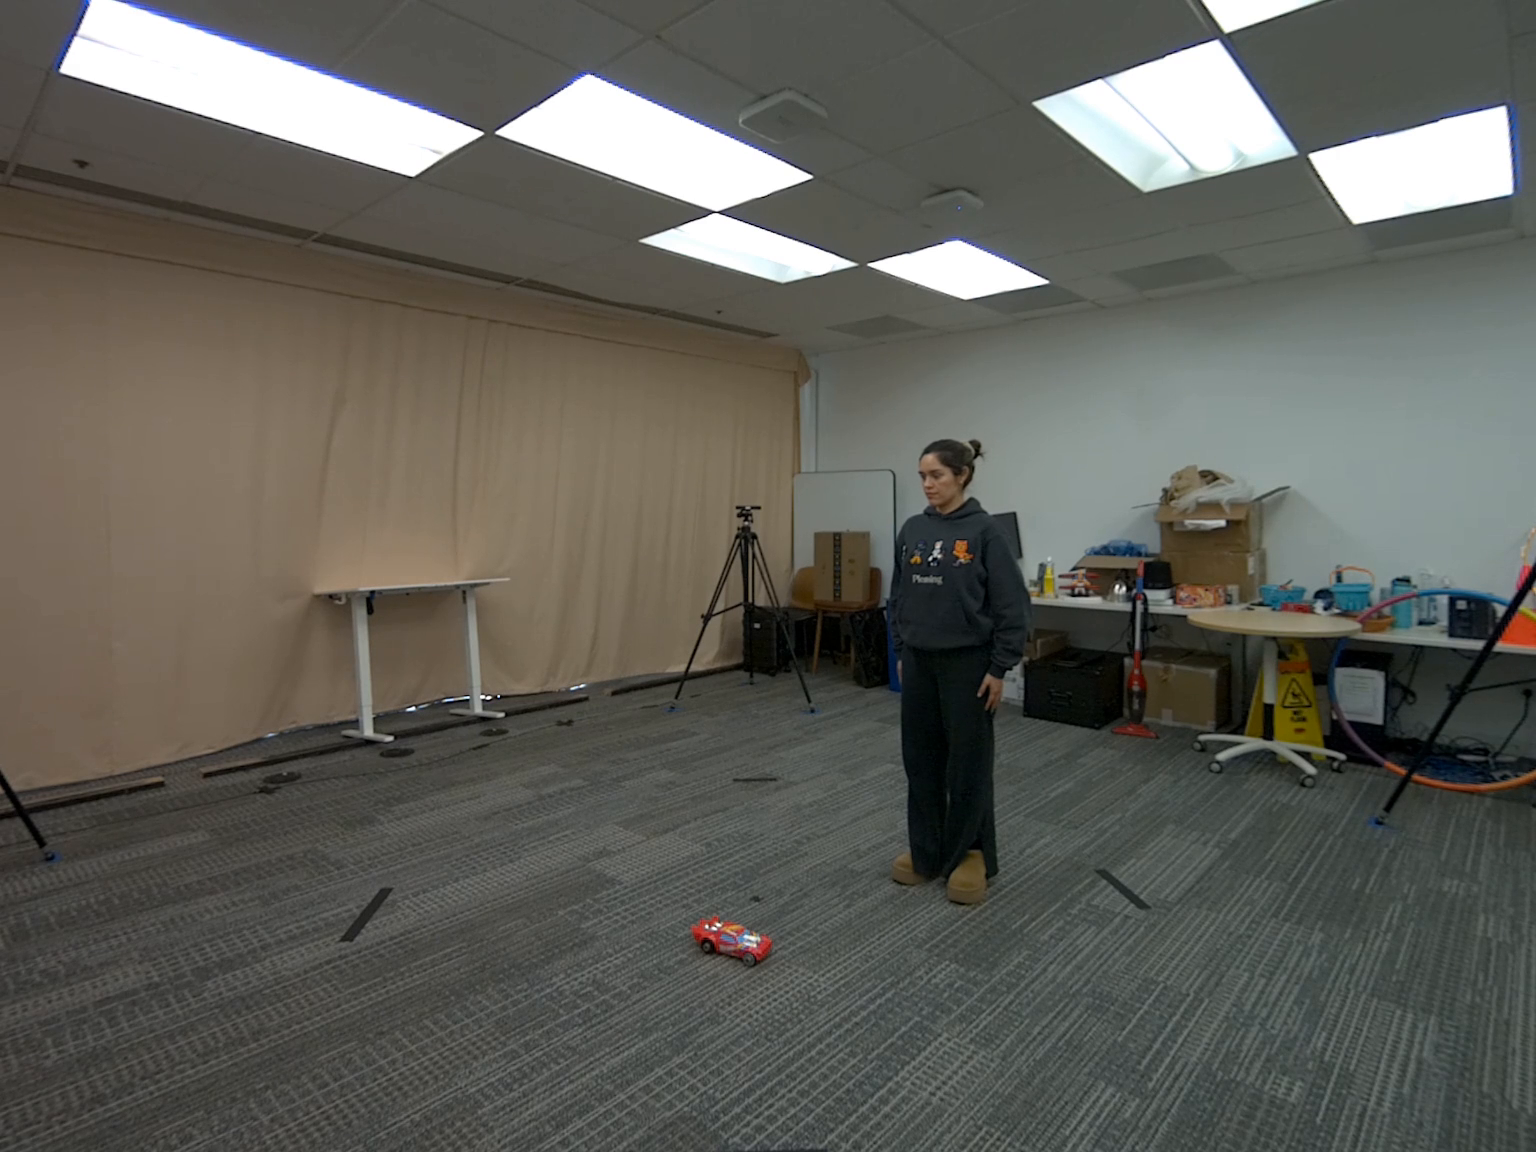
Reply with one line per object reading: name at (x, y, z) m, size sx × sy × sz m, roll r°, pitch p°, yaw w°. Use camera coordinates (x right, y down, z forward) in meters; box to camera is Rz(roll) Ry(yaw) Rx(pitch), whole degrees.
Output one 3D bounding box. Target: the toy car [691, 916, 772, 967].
toy car at (-0.094, 1.143, 2.635) m, size 0.262 × 0.083 × 0.127 m, roll 13°, pitch 11°, yaw 28°
